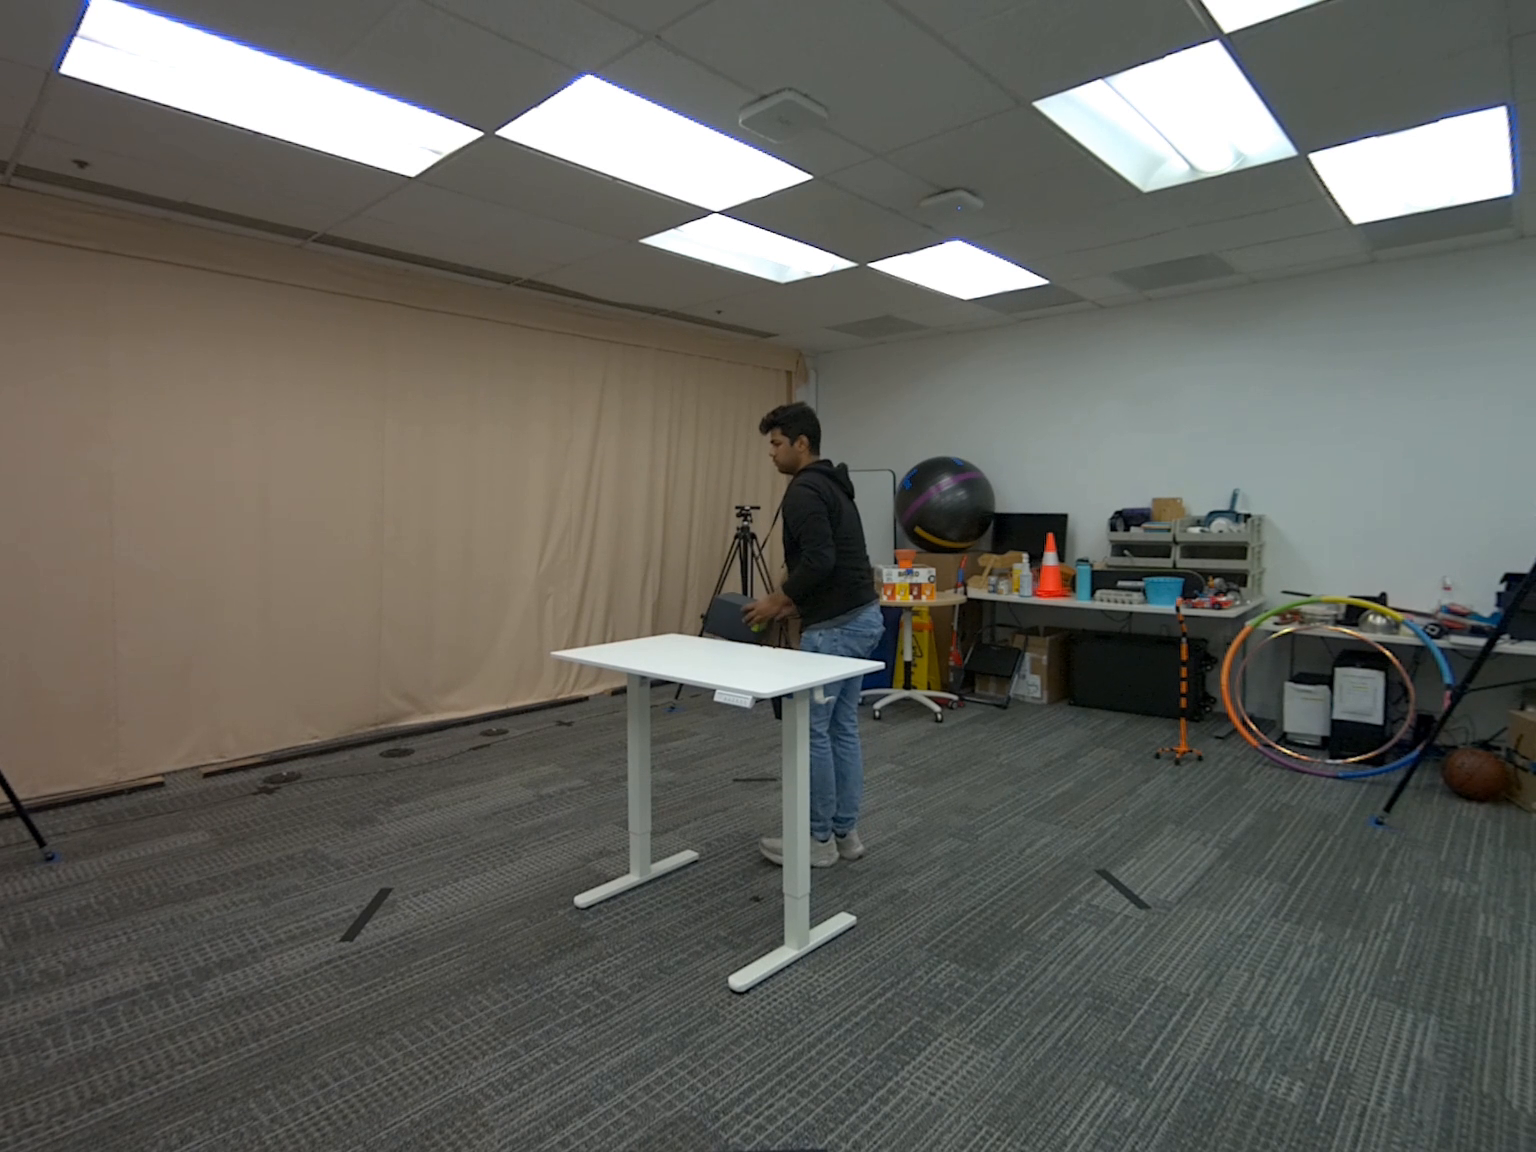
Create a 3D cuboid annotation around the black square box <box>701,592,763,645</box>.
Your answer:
[{"bbox_3d":[-0.105,0.182,3.473,0.221,0.155,0.224,15,7,16],"label":"black square box"}]
